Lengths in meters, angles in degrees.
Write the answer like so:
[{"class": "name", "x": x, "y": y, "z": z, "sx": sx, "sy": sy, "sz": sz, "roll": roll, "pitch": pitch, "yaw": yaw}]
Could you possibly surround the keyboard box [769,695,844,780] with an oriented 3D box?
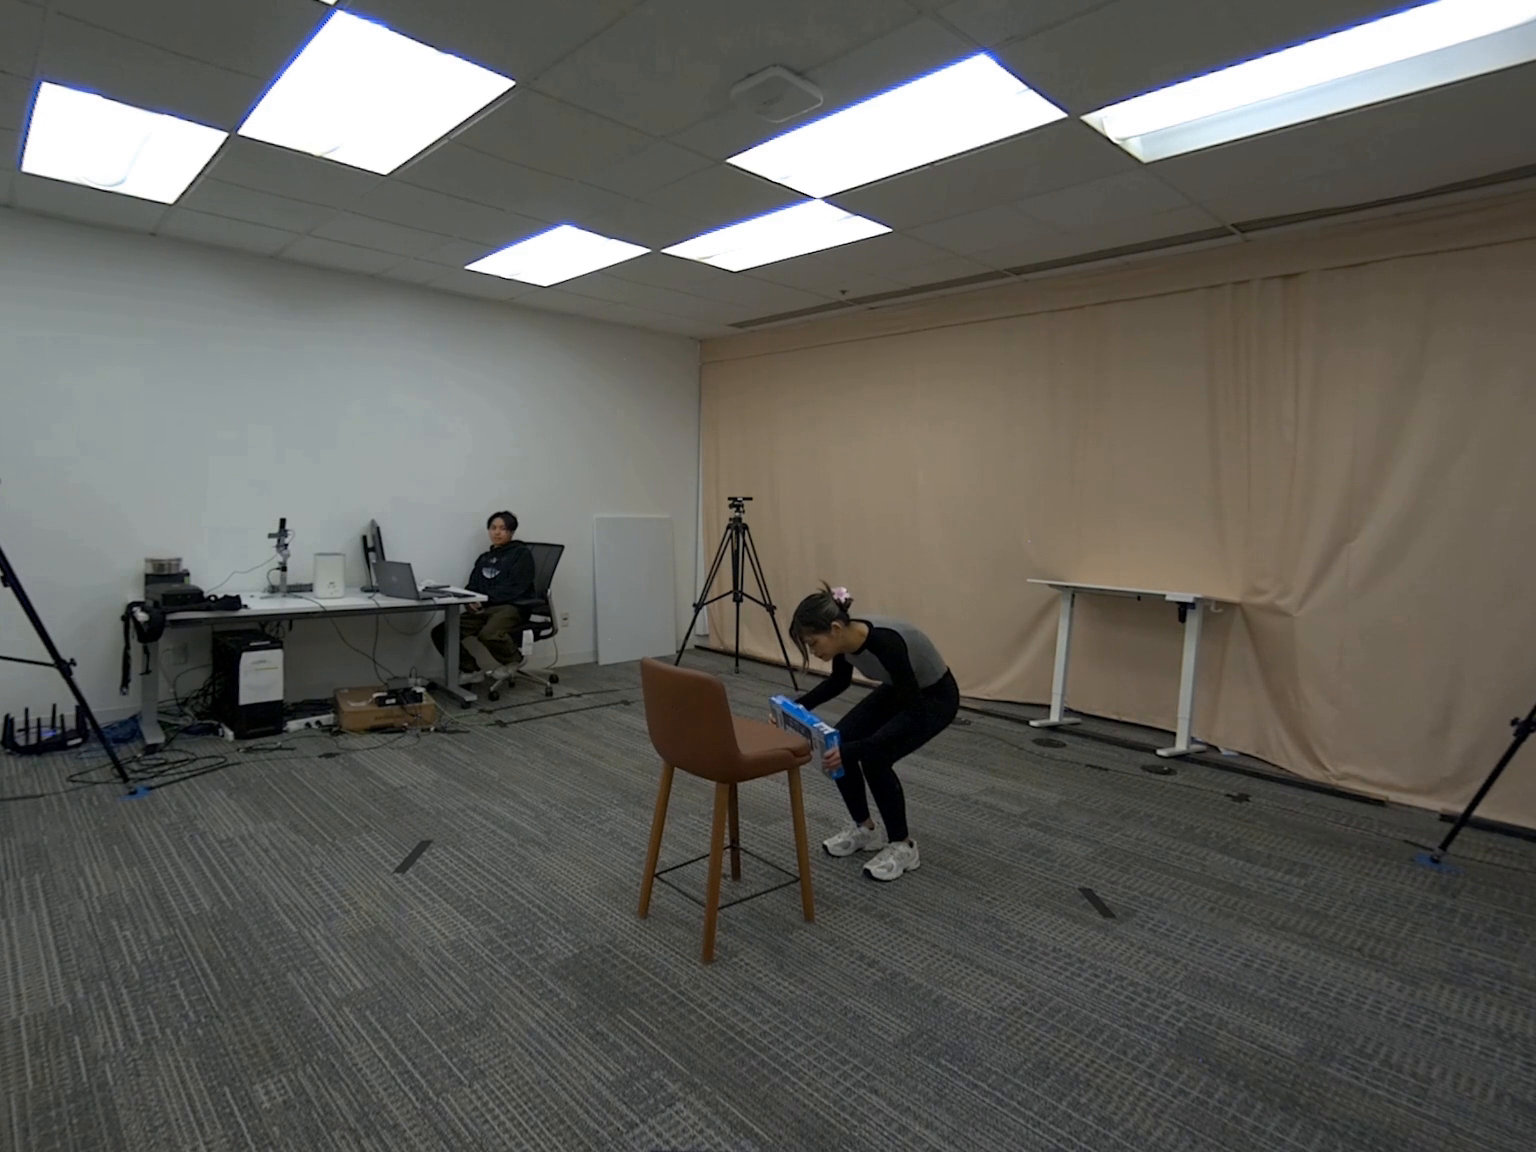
[{"class": "keyboard box", "x": 0.132, "y": 0.596, "z": 3.128, "sx": 0.058, "sy": 0.174, "sz": 0.447, "roll": -17, "pitch": 16, "yaw": -23}]
